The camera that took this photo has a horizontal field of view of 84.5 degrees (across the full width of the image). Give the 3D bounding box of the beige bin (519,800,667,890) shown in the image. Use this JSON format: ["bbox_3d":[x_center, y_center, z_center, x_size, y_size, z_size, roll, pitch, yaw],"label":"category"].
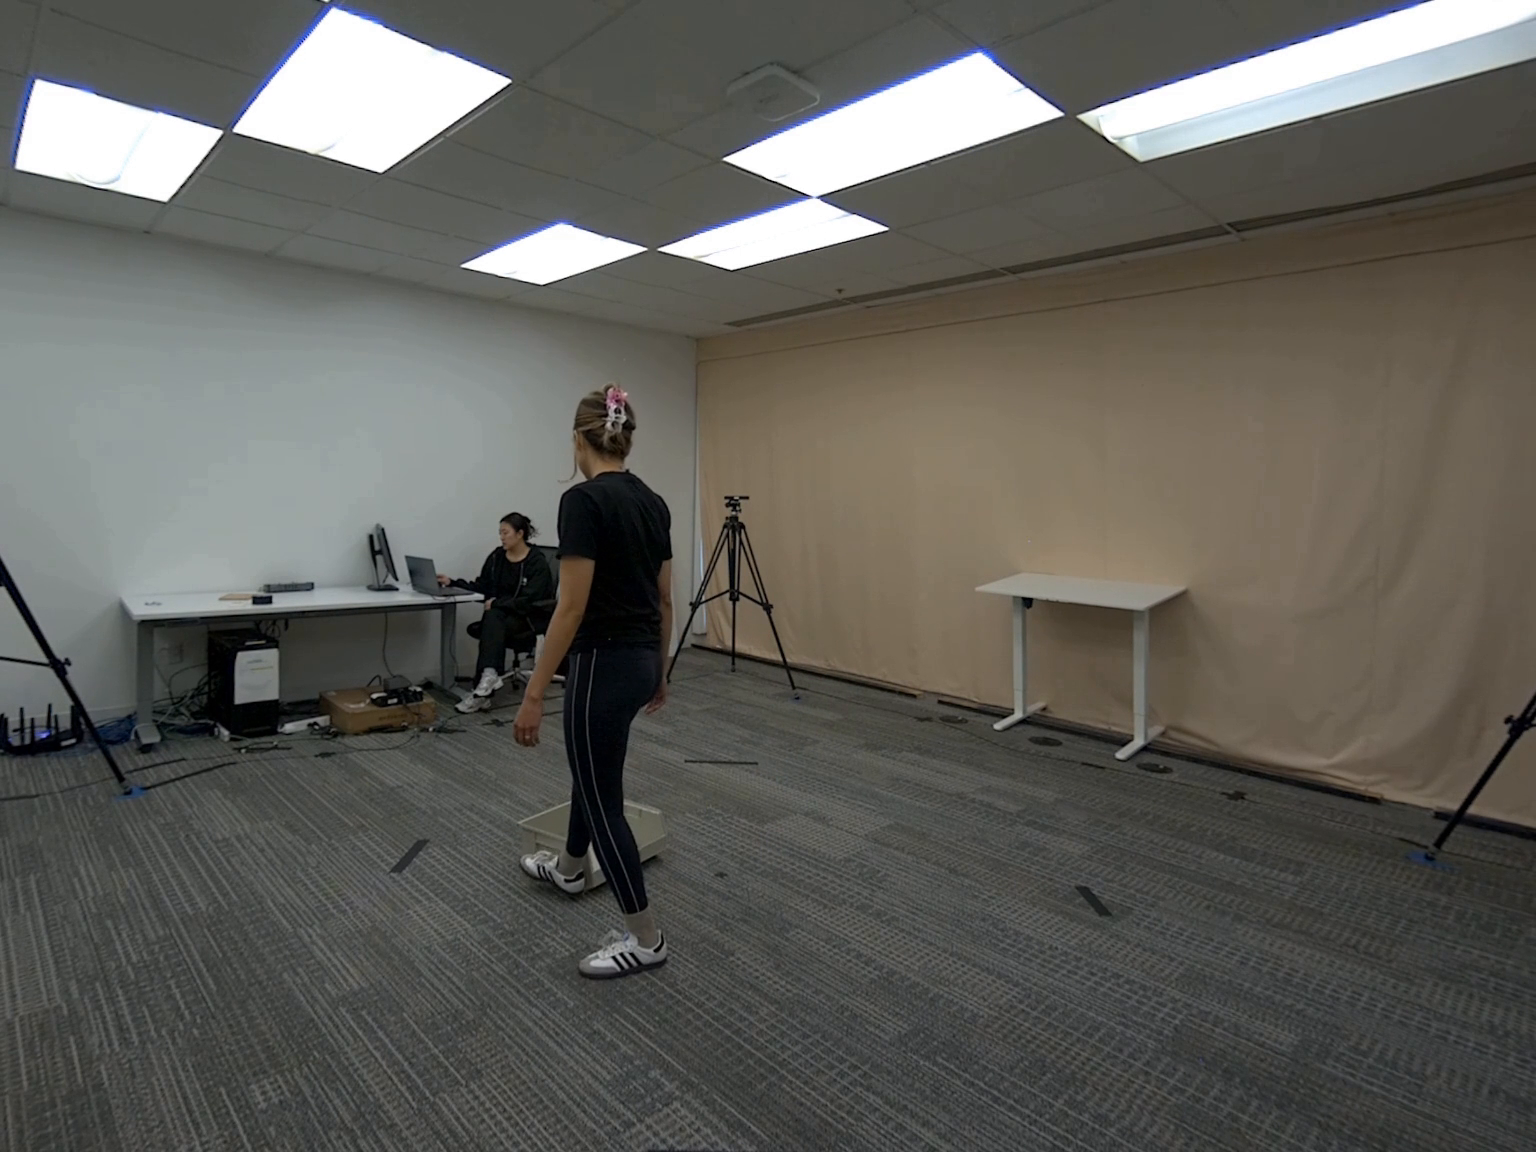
[{"bbox_3d":[-0.662,1.000,3.165,0.386,0.188,0.414,4,6,32],"label":"beige bin"}]
